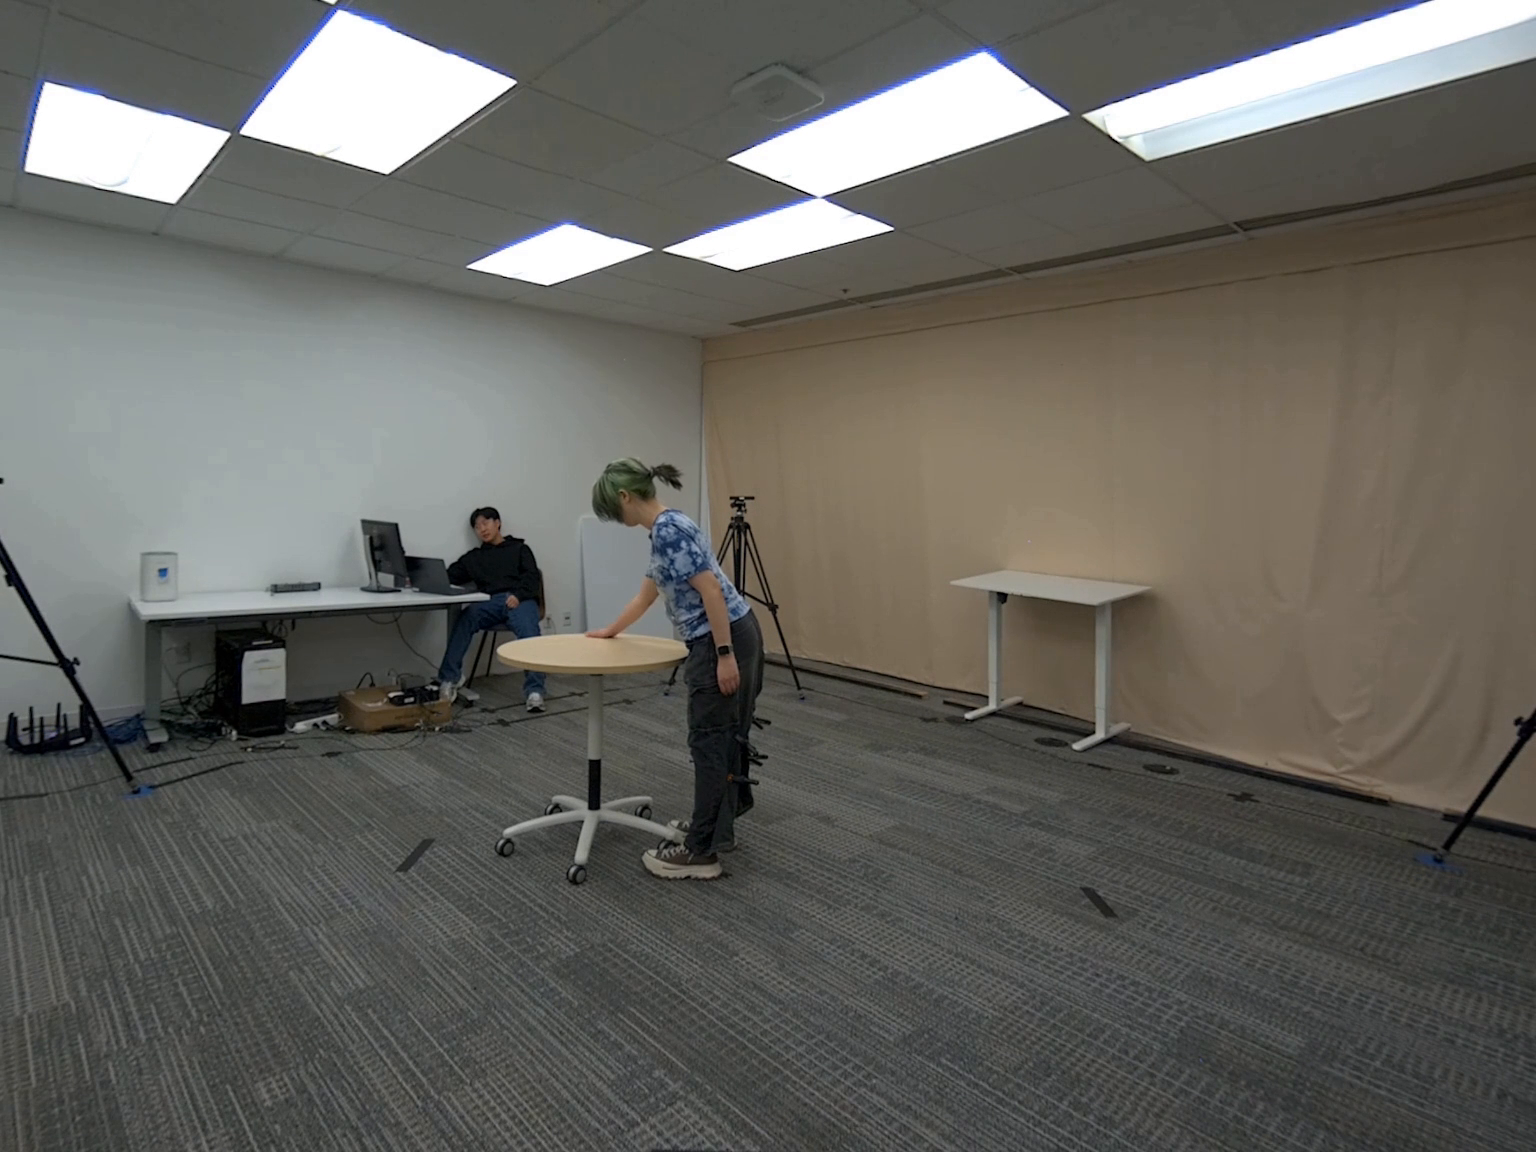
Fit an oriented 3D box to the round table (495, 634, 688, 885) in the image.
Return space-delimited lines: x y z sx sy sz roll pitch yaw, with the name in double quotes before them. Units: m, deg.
"round table" -0.680 0.674 3.350 0.784 0.784 0.788 1 4 -1
